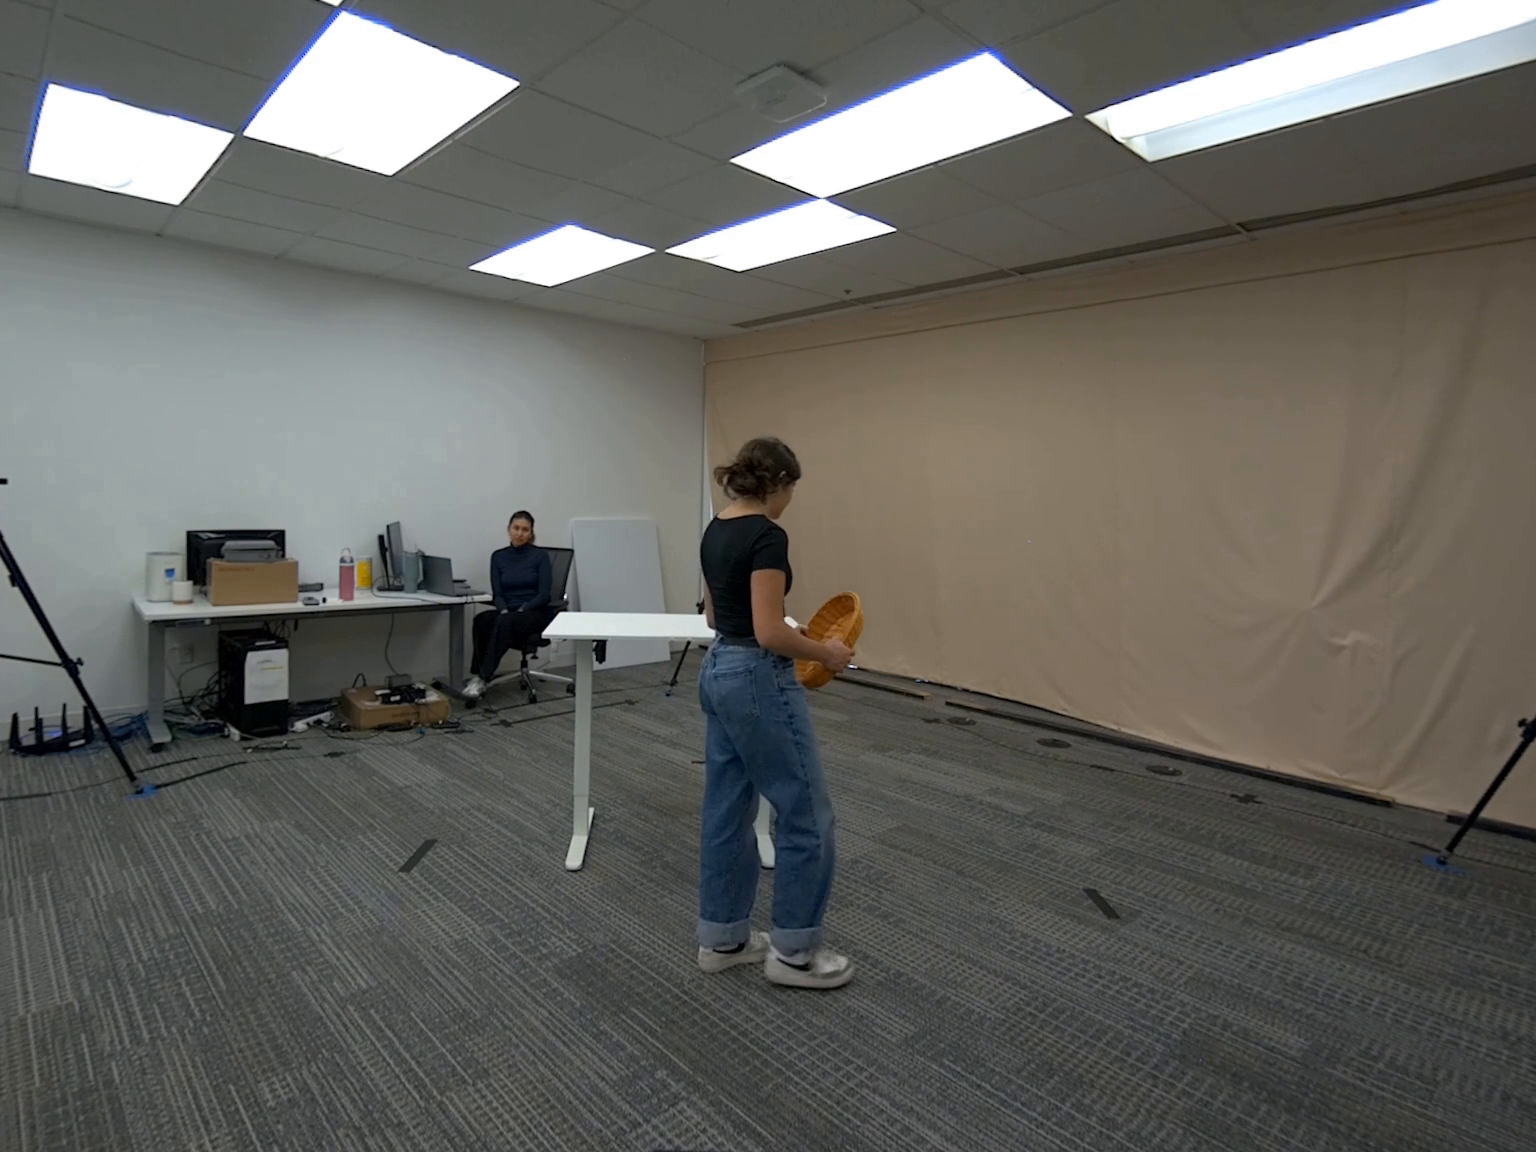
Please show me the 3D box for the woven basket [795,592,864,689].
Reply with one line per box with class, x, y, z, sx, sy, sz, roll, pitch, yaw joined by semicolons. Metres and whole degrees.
woven basket;0.182;0.209;2.580;0.072;0.350;0.258;39;-3;-23
